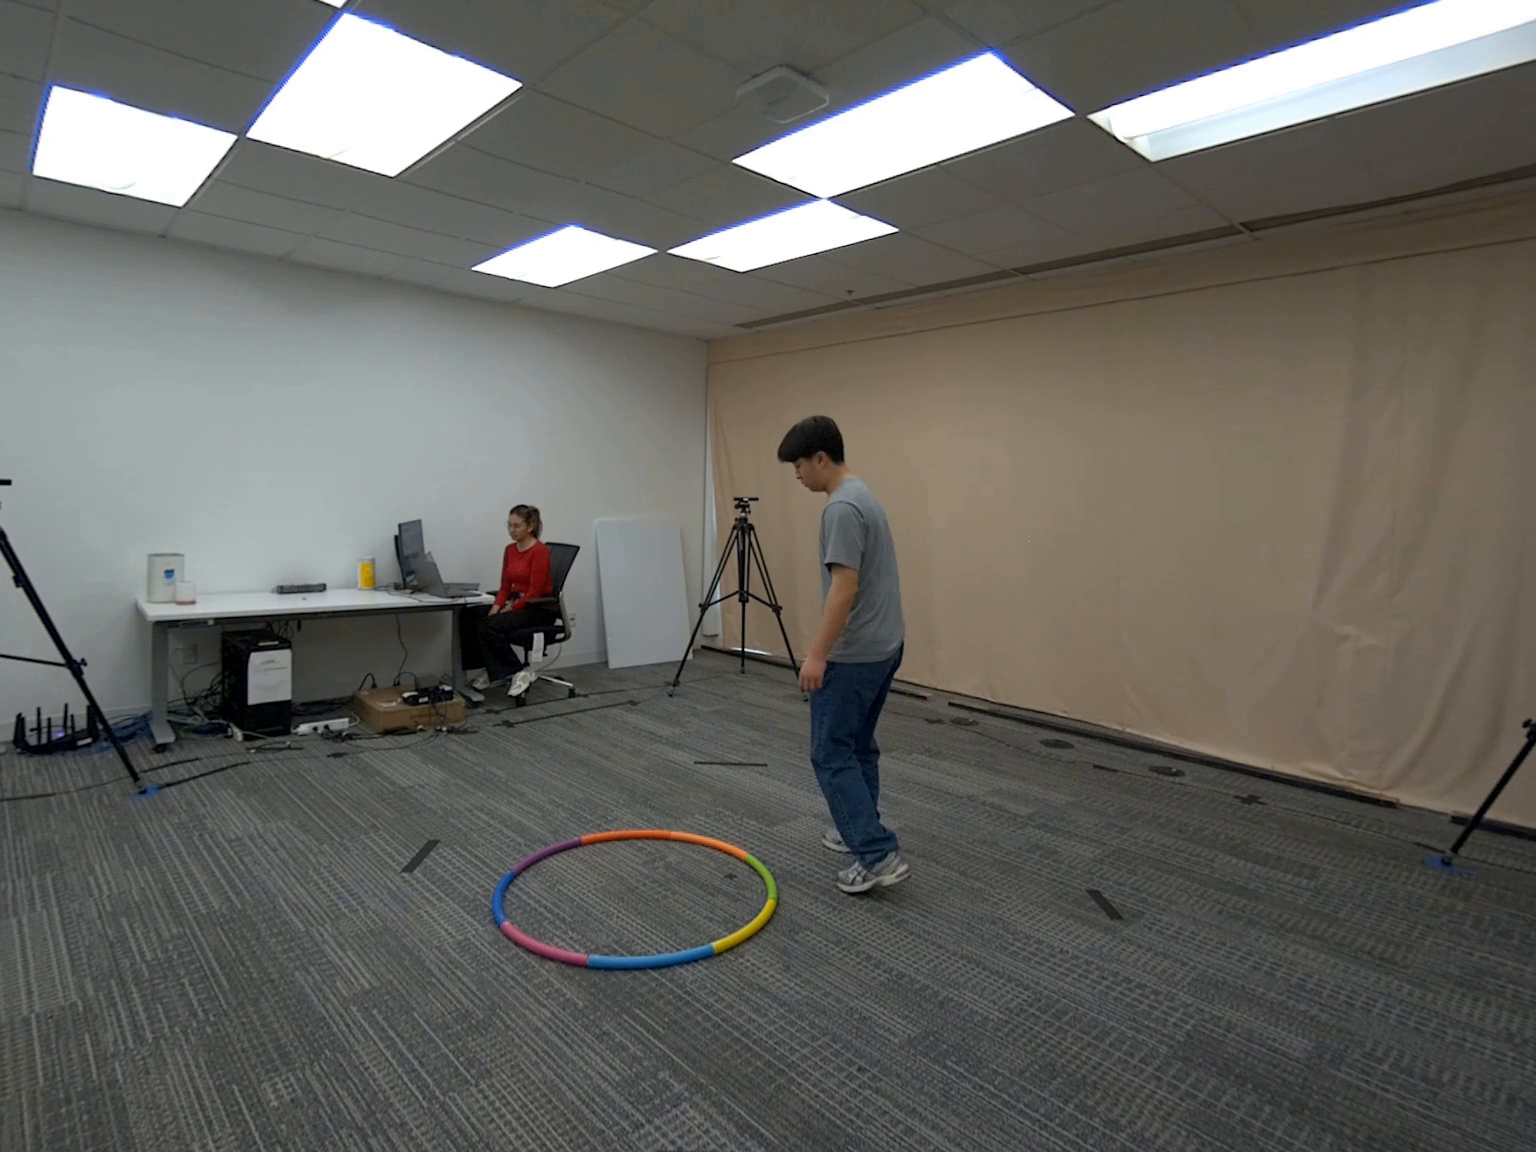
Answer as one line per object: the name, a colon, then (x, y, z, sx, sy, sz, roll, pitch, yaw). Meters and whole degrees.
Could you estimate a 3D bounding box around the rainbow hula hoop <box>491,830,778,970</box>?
rainbow hula hoop: (-0.466, 1.083, 2.957, 0.978, 0.035, 0.982, 1, 5, -1)
